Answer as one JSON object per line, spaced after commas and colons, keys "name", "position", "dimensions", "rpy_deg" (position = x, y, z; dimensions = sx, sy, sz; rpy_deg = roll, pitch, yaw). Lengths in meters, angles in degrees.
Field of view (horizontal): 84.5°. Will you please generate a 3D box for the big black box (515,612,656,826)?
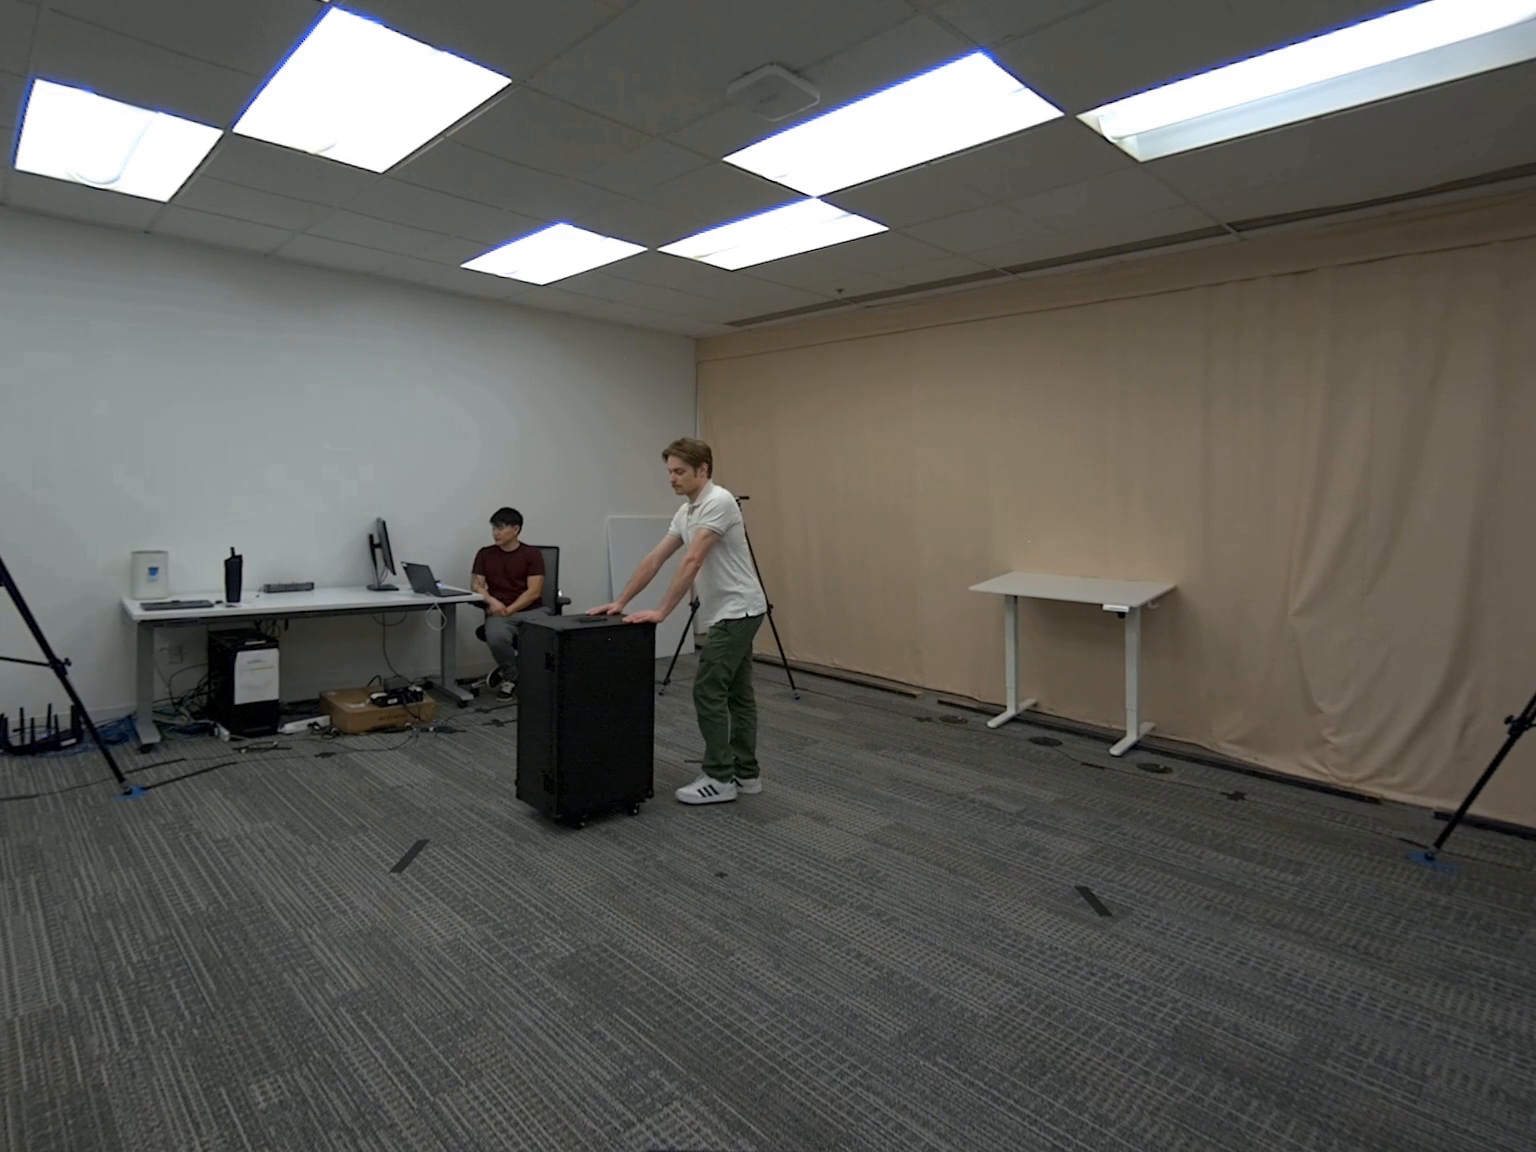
{"name": "big black box", "position": [-0.805, 0.616, 3.651], "dimensions": [0.511, 0.866, 0.395], "rpy_deg": [-2, 5, -43]}
